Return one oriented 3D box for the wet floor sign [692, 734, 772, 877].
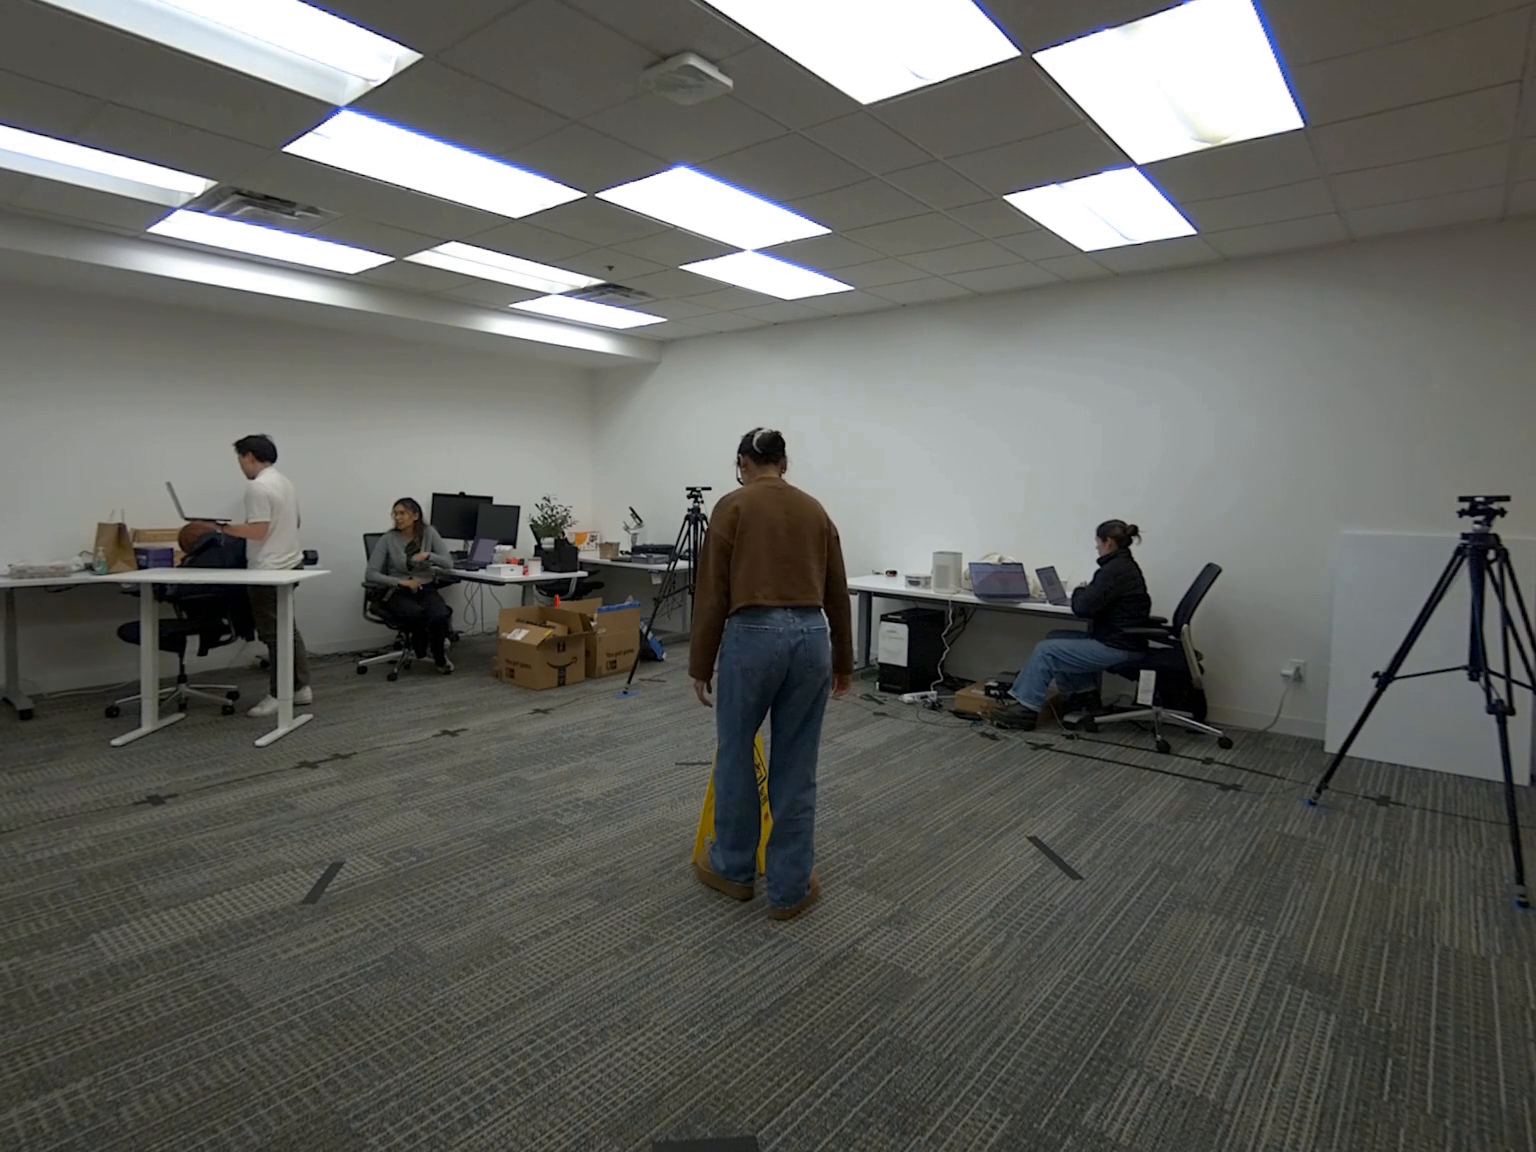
[{"bbox_3d":[-0.116,0.732,3.216,0.295,0.644,0.278,2,4,15],"label":"wet floor sign"}]
